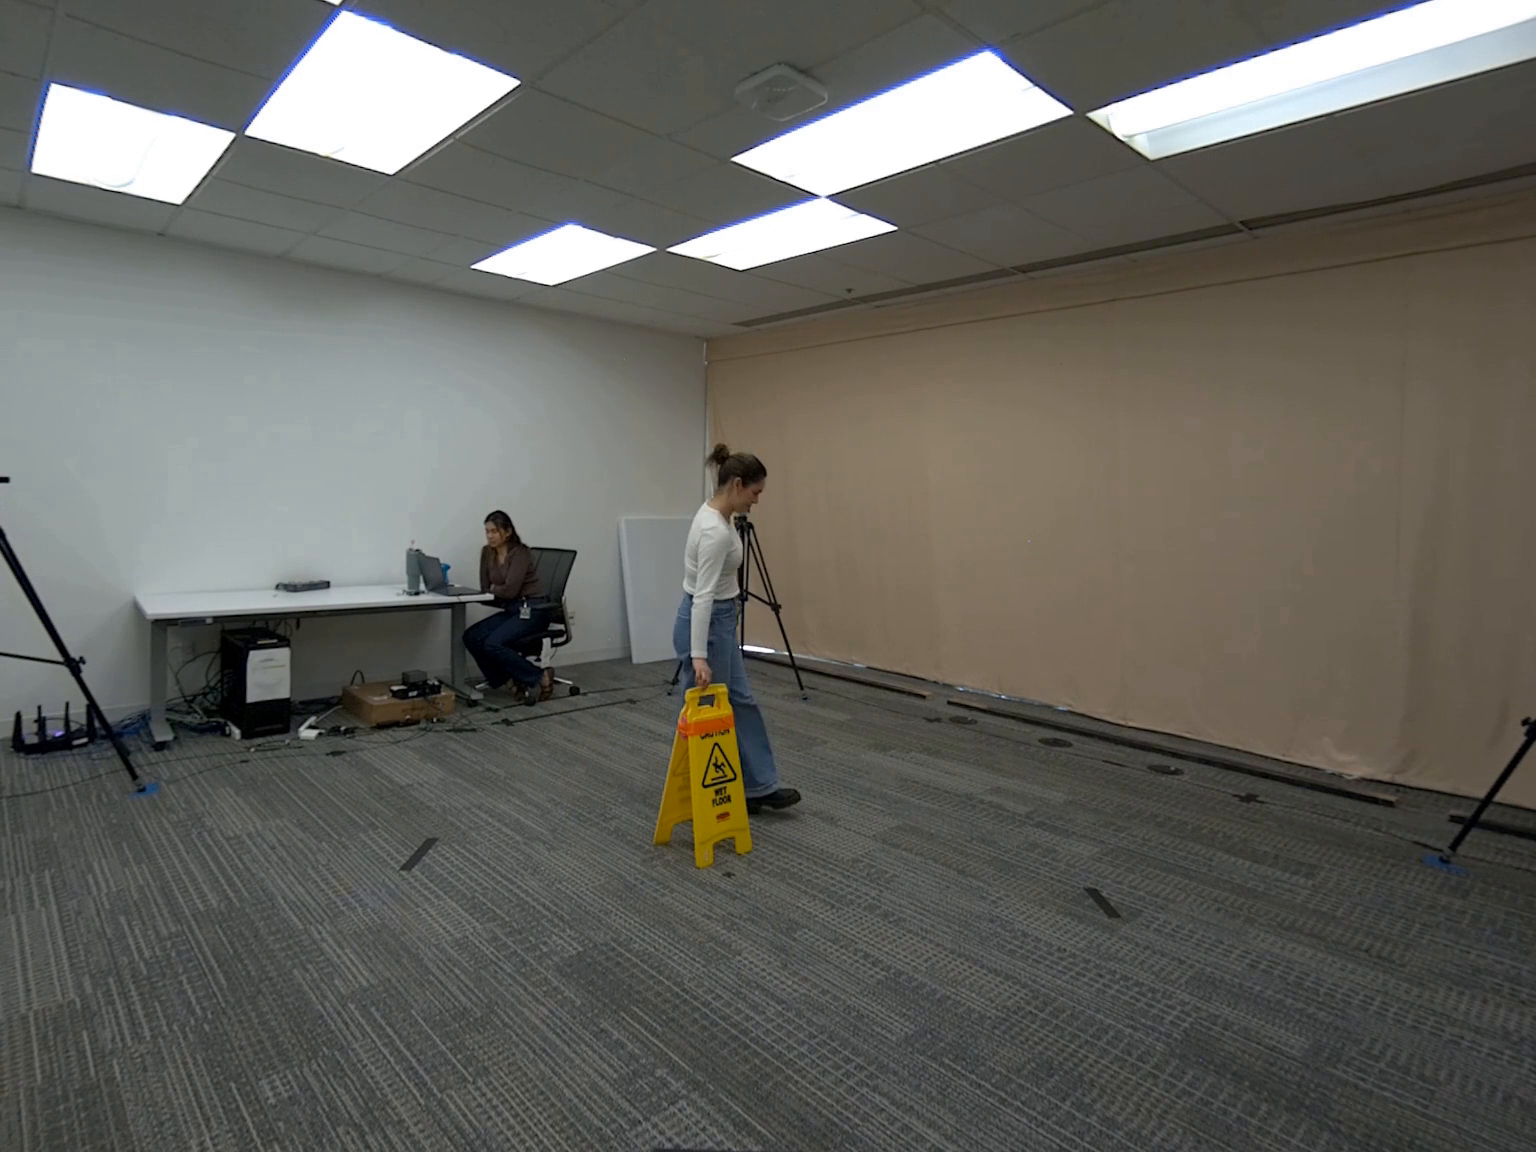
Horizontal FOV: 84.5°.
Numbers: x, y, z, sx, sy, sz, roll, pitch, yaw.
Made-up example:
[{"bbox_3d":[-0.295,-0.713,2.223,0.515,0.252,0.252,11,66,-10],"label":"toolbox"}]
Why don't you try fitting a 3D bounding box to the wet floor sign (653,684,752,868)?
[{"bbox_3d":[-0.265,0.757,3.323,0.276,0.645,0.297,-1,4,-44],"label":"wet floor sign"}]
